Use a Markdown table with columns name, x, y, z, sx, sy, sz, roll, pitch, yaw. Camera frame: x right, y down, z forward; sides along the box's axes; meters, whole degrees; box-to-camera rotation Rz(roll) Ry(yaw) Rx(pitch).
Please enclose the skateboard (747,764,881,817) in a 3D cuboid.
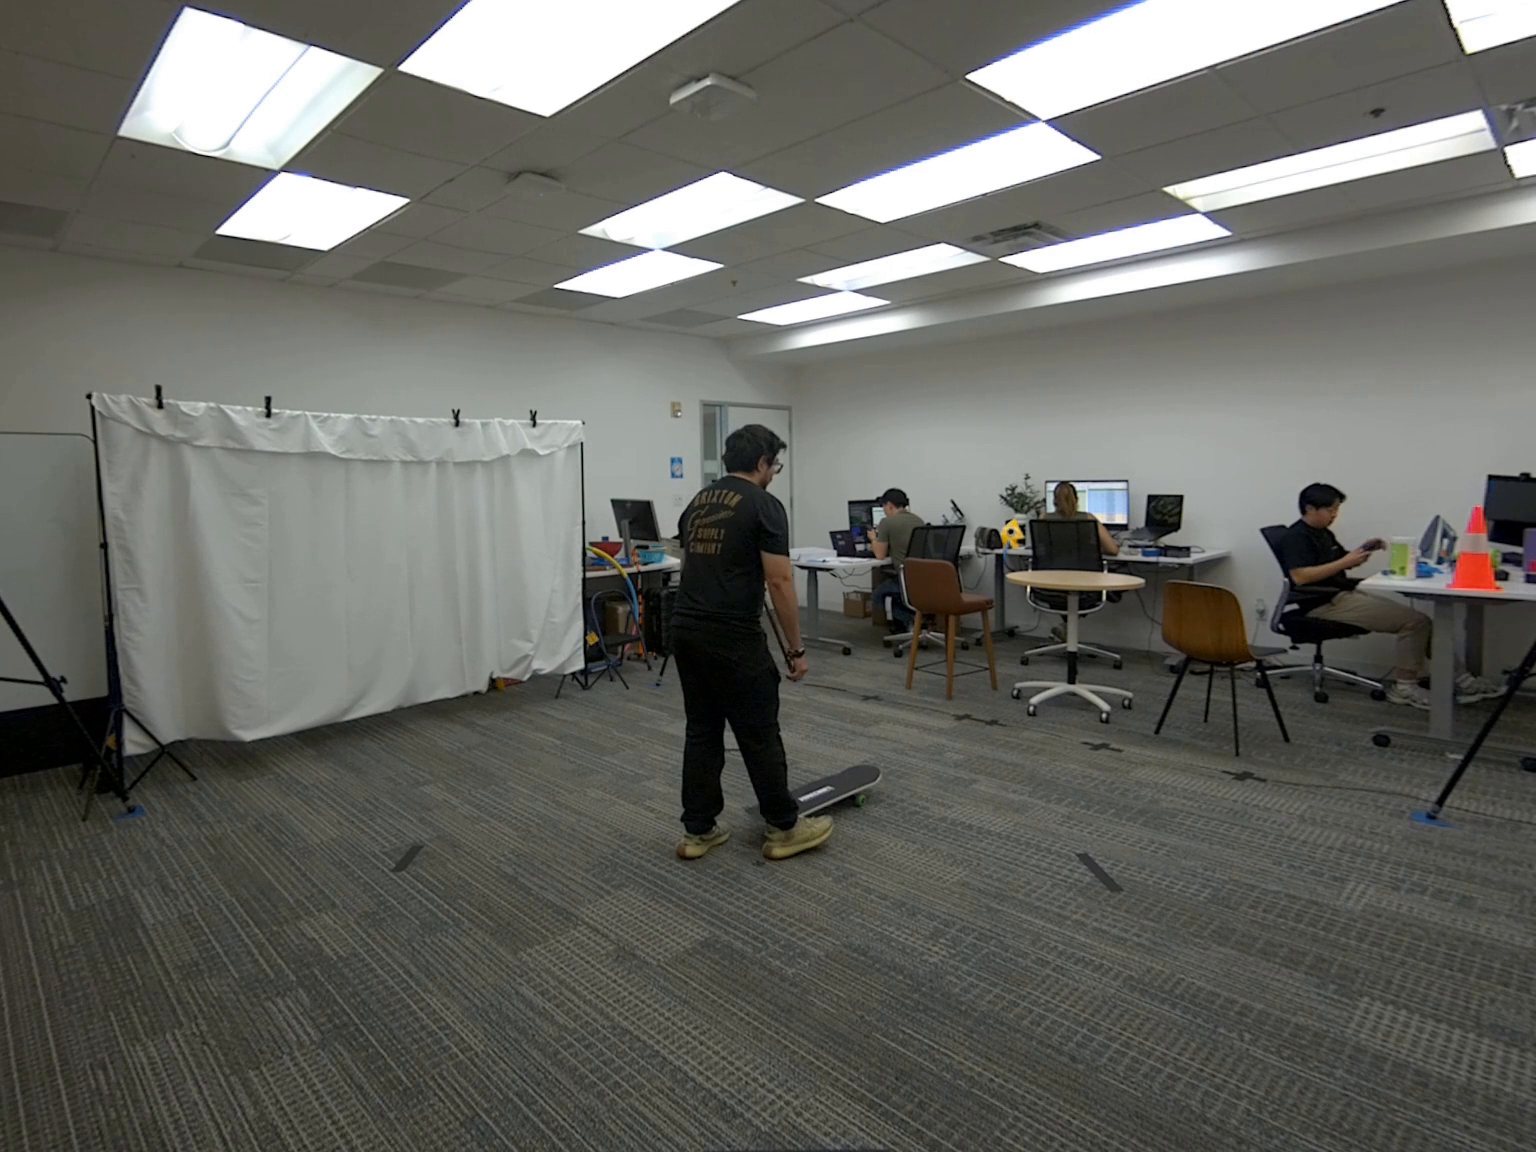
| name | x | y | z | sx | sy | sz | roll | pitch | yaw |
| --- | --- | --- | --- | --- | --- | --- | --- | --- | --- |
| skateboard | 0.198 | 0.937 | 3.557 | 0.199 | 0.110 | 0.765 | 5 | 9 | 44 |
